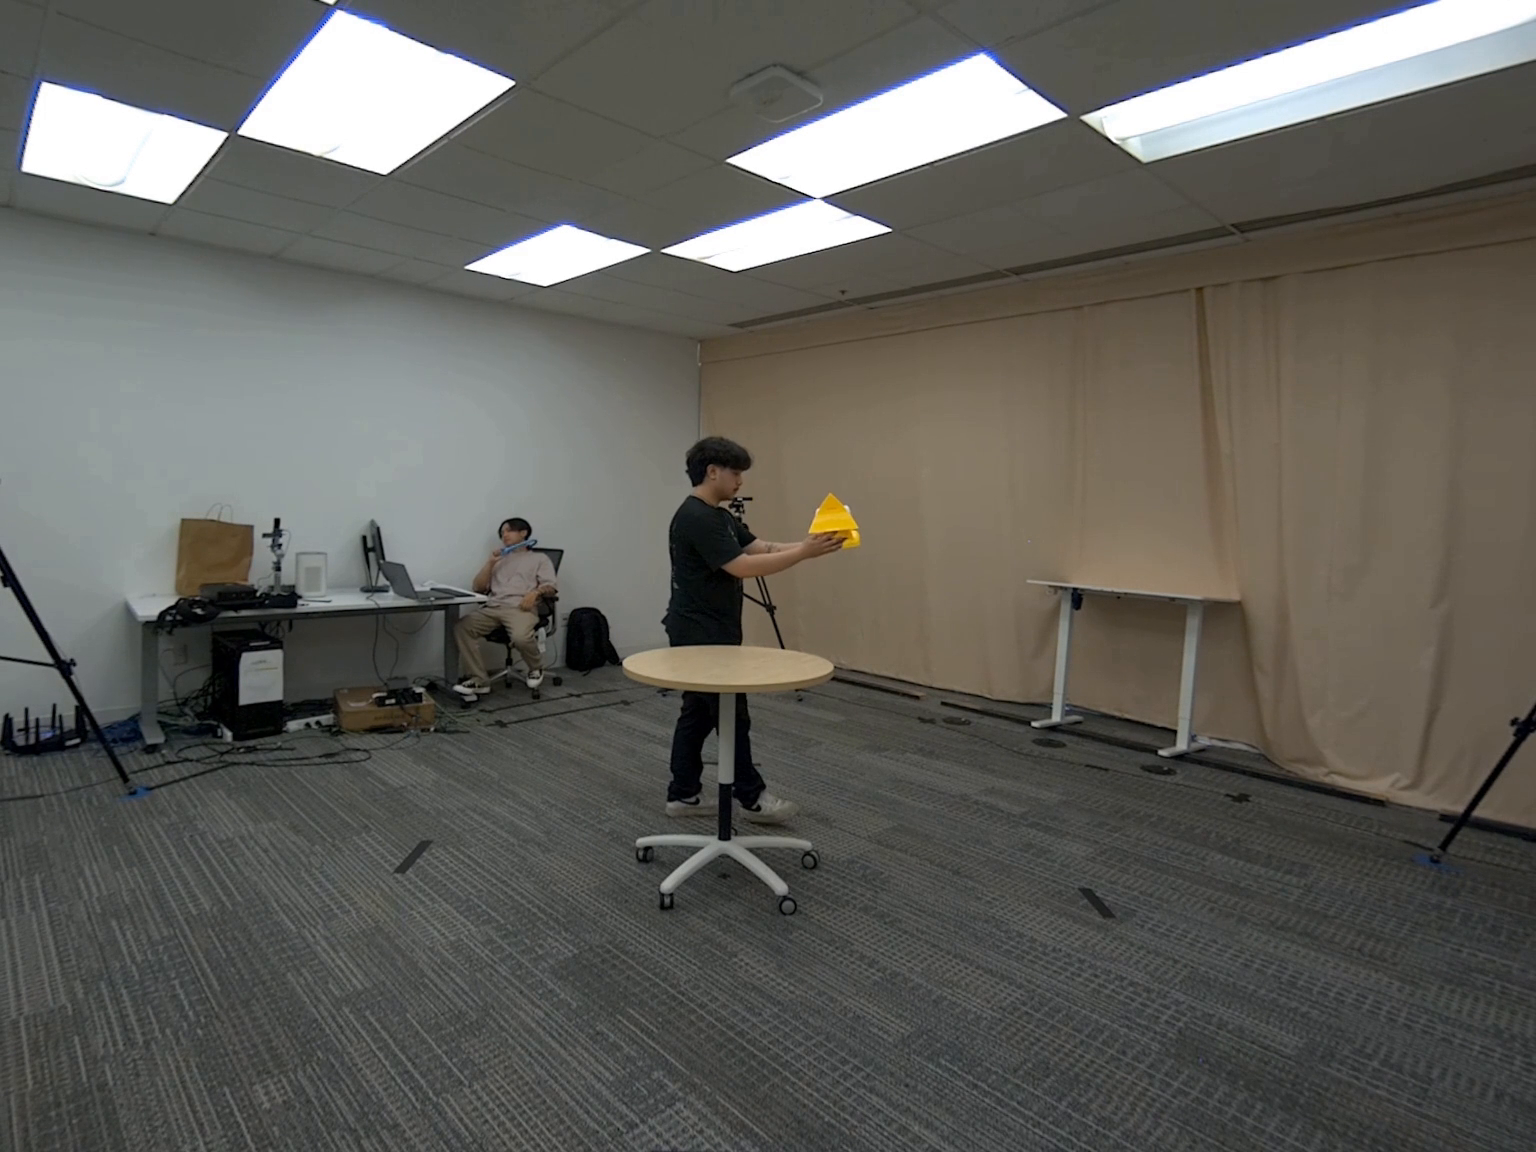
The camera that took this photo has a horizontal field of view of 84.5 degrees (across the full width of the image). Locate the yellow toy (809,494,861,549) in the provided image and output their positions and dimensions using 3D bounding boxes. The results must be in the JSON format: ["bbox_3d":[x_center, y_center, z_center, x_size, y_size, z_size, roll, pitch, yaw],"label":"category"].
[{"bbox_3d":[0.267,-0.239,3.505,0.206,0.229,0.193,-5,10,9],"label":"yellow toy"}]
